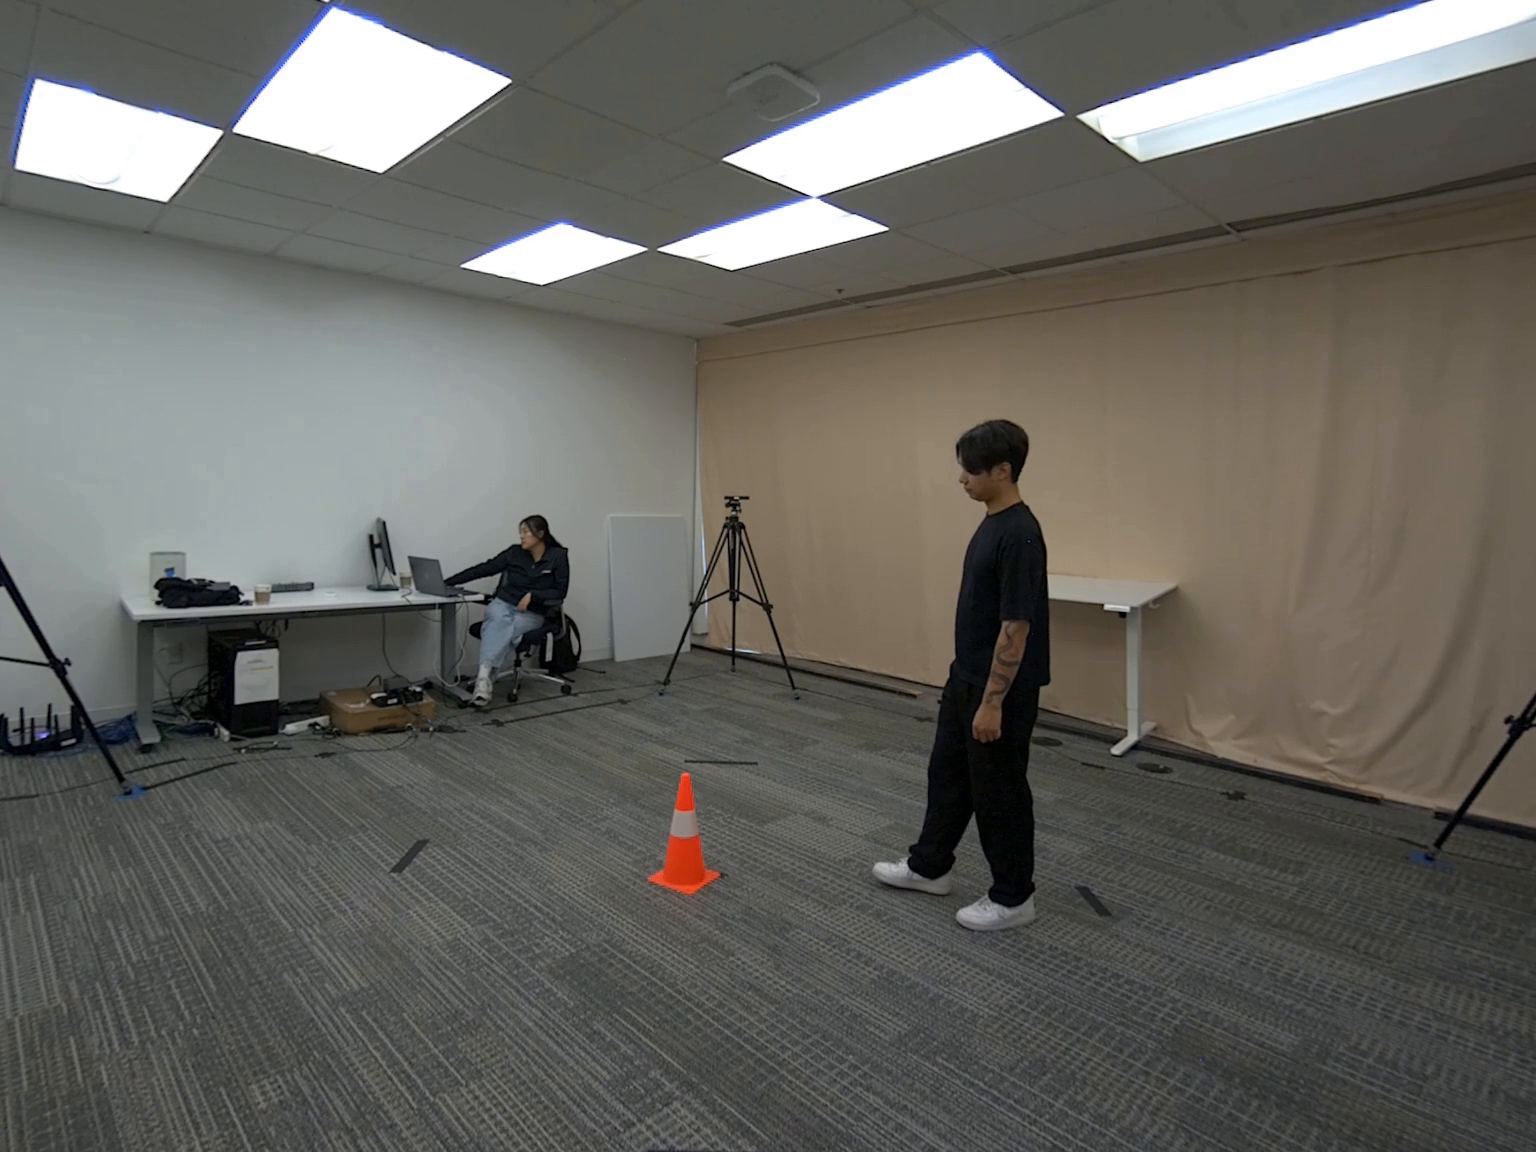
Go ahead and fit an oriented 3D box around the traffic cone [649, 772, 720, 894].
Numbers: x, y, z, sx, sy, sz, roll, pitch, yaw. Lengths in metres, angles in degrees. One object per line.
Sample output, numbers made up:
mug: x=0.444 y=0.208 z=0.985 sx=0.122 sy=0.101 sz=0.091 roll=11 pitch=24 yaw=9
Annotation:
traffic cone: x=-0.300 y=0.918 z=3.075 sx=0.208 sy=0.383 sz=0.201 roll=5 pitch=4 yaw=31
